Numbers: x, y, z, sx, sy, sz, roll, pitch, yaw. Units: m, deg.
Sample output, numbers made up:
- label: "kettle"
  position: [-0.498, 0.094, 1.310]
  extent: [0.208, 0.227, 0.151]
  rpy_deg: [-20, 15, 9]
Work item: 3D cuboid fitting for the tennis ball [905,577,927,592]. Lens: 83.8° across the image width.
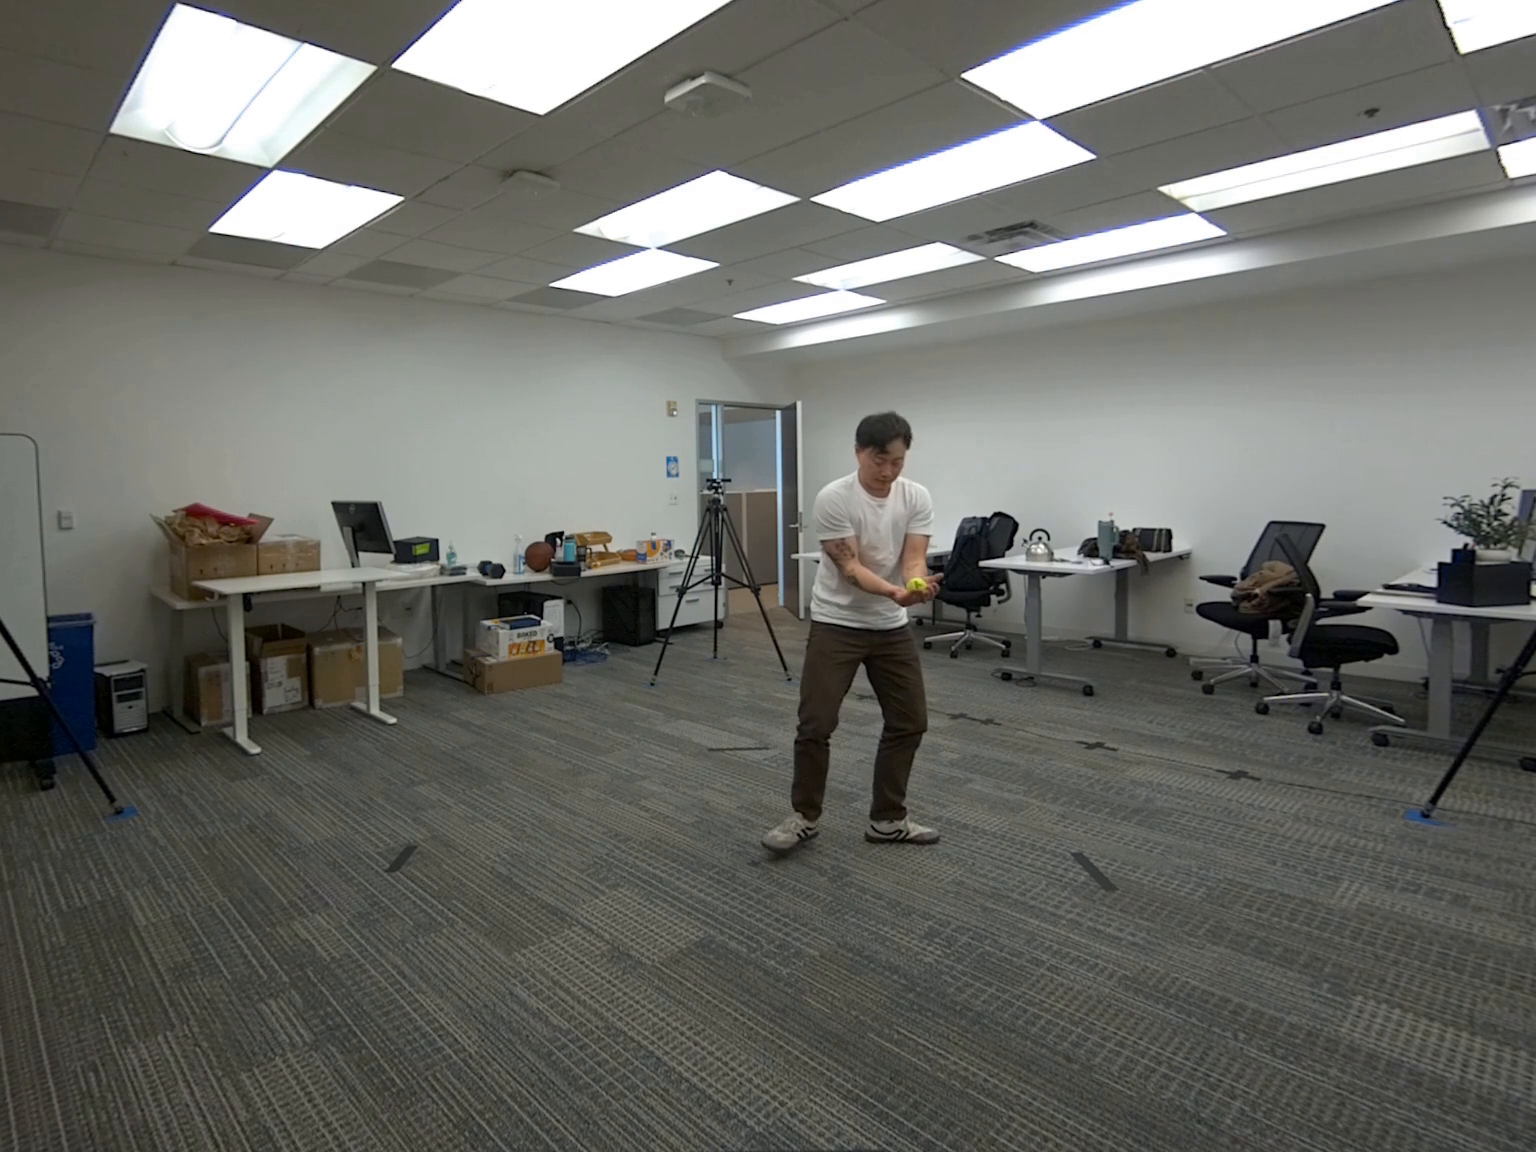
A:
- label: "tennis ball"
  position: [0.503, 0.041, 2.817]
  extent: [0.066, 0.066, 0.067]
  rpy_deg: [-1, 5, -2]
